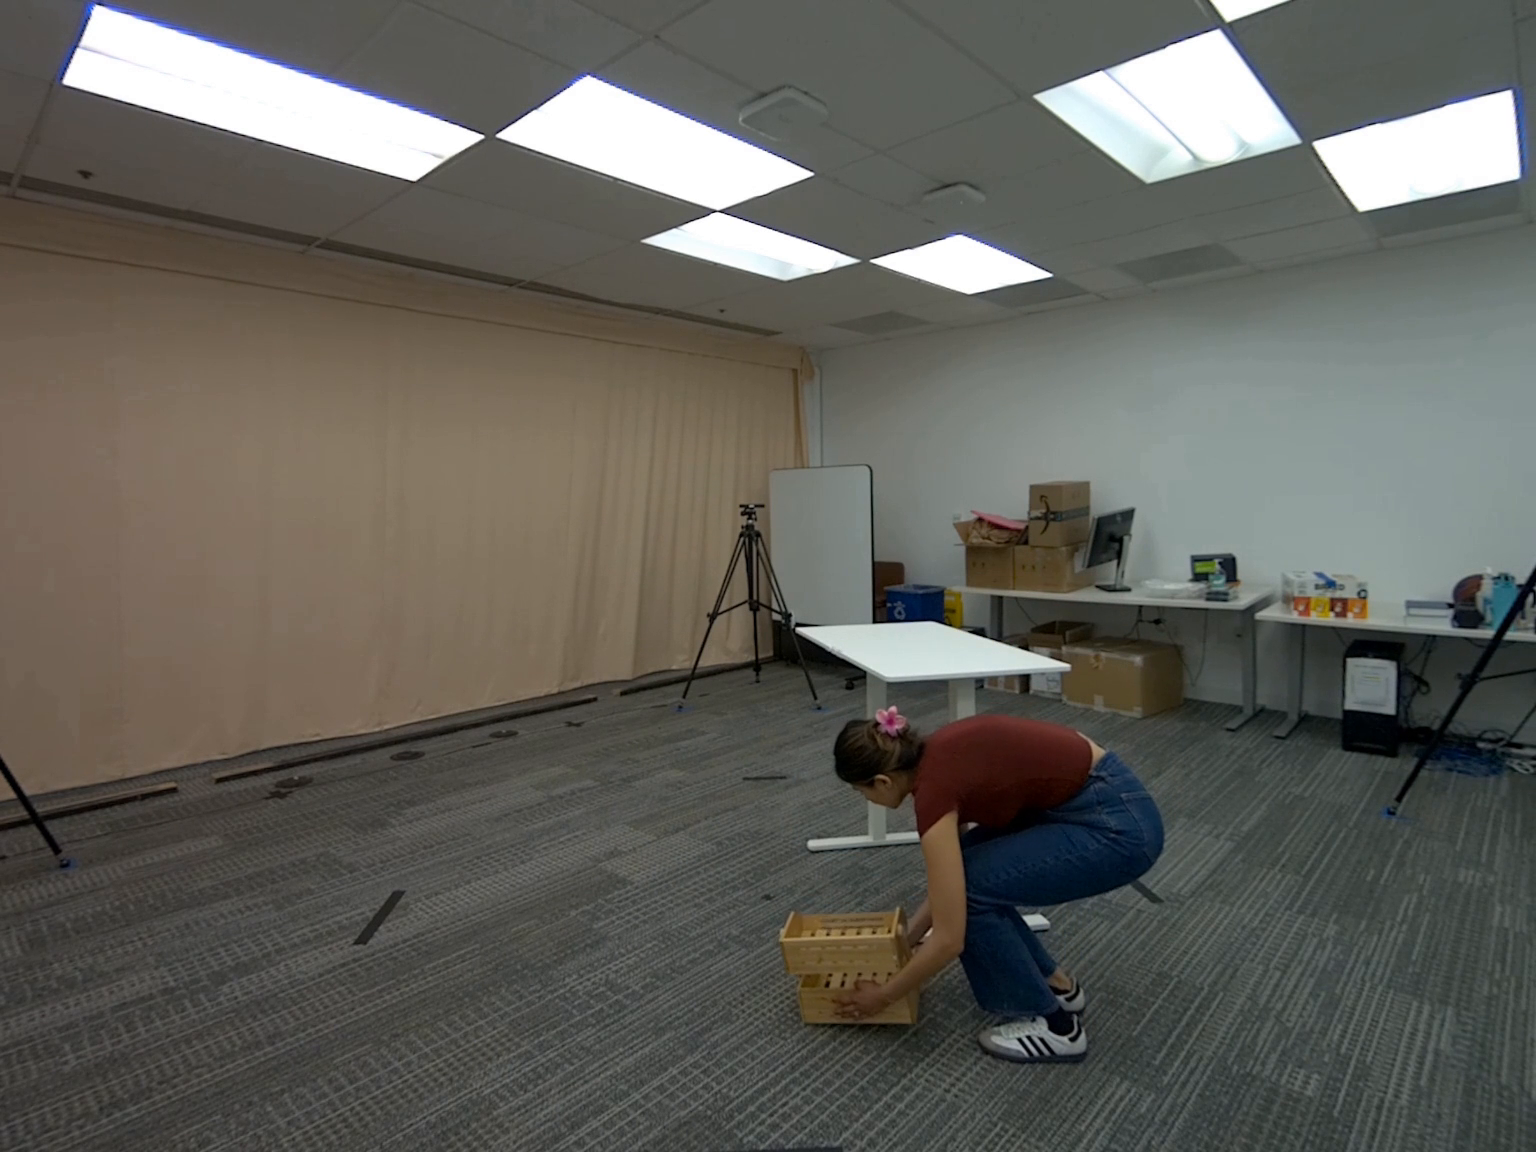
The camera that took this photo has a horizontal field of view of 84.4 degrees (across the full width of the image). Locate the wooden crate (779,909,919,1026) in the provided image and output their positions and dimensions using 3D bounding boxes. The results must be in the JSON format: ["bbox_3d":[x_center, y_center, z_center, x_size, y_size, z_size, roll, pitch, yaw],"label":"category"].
[{"bbox_3d":[0.242,1.031,2.294,0.330,0.273,0.298,-9,4,17],"label":"wooden crate"}]
